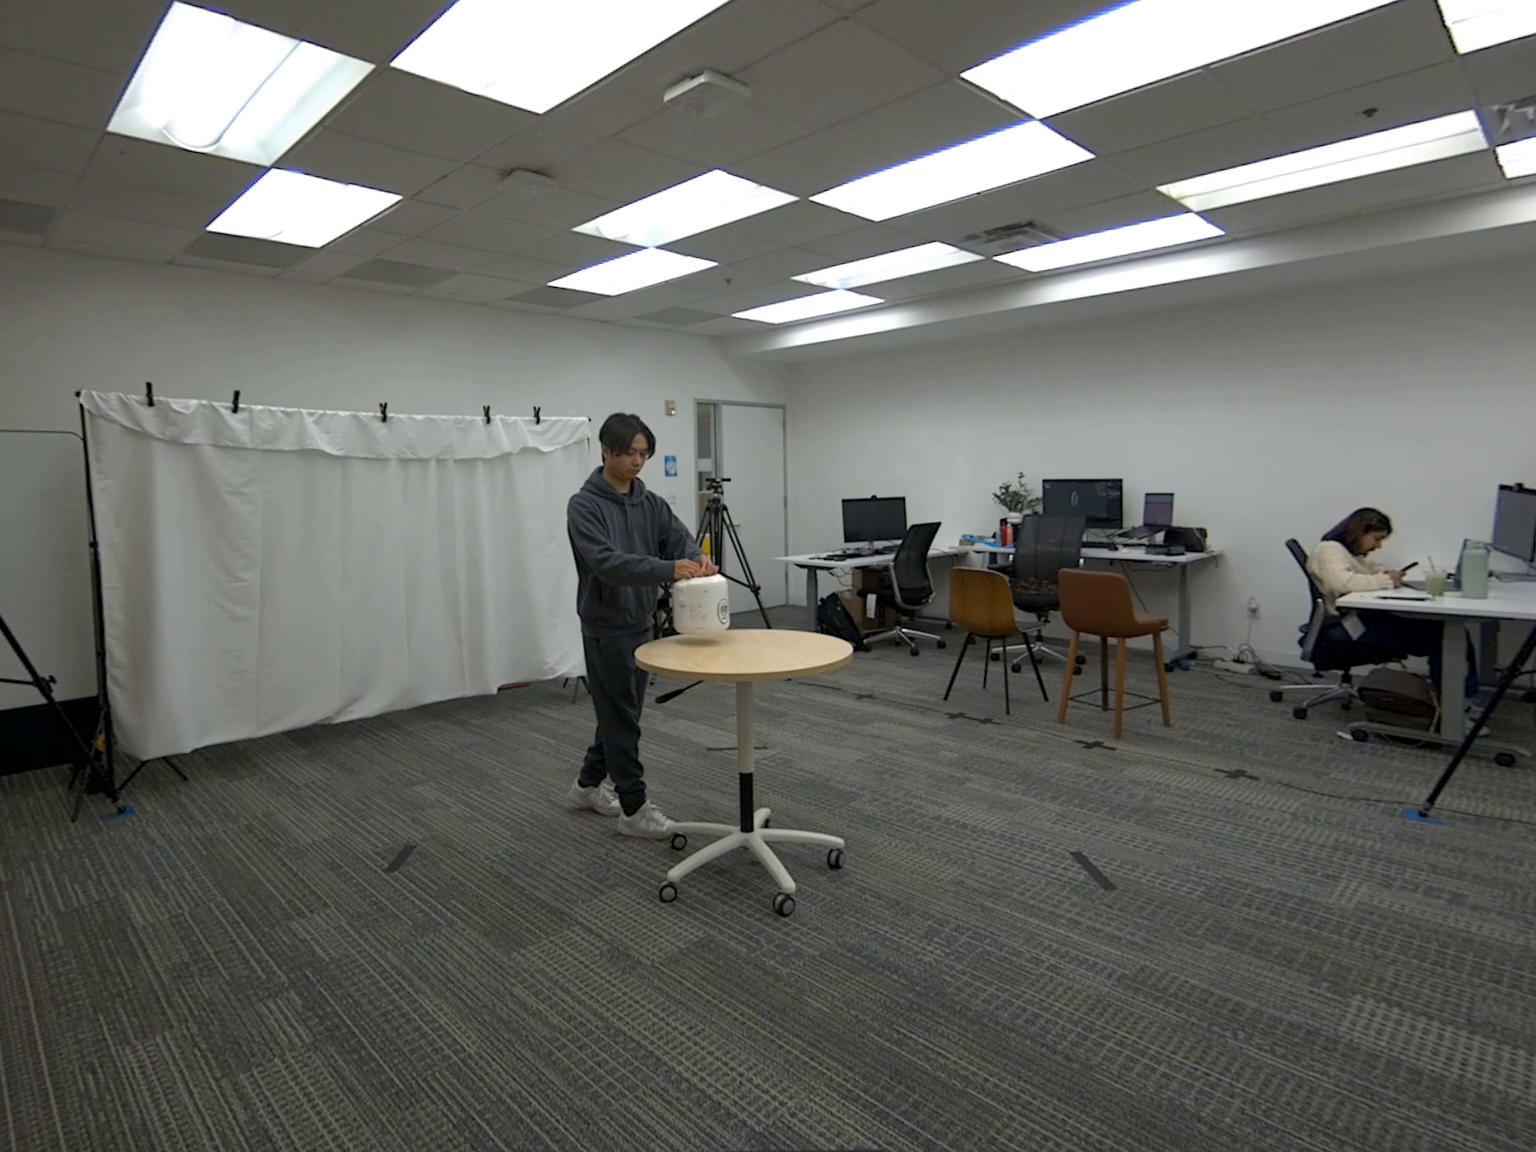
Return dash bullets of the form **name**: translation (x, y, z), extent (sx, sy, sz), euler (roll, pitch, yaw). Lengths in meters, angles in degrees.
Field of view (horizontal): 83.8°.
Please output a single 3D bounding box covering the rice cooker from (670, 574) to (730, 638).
- **rice cooker**: translation (-0.246, 0.089, 3.147), extent (0.223, 0.232, 0.215), euler (-3, 3, 38)
